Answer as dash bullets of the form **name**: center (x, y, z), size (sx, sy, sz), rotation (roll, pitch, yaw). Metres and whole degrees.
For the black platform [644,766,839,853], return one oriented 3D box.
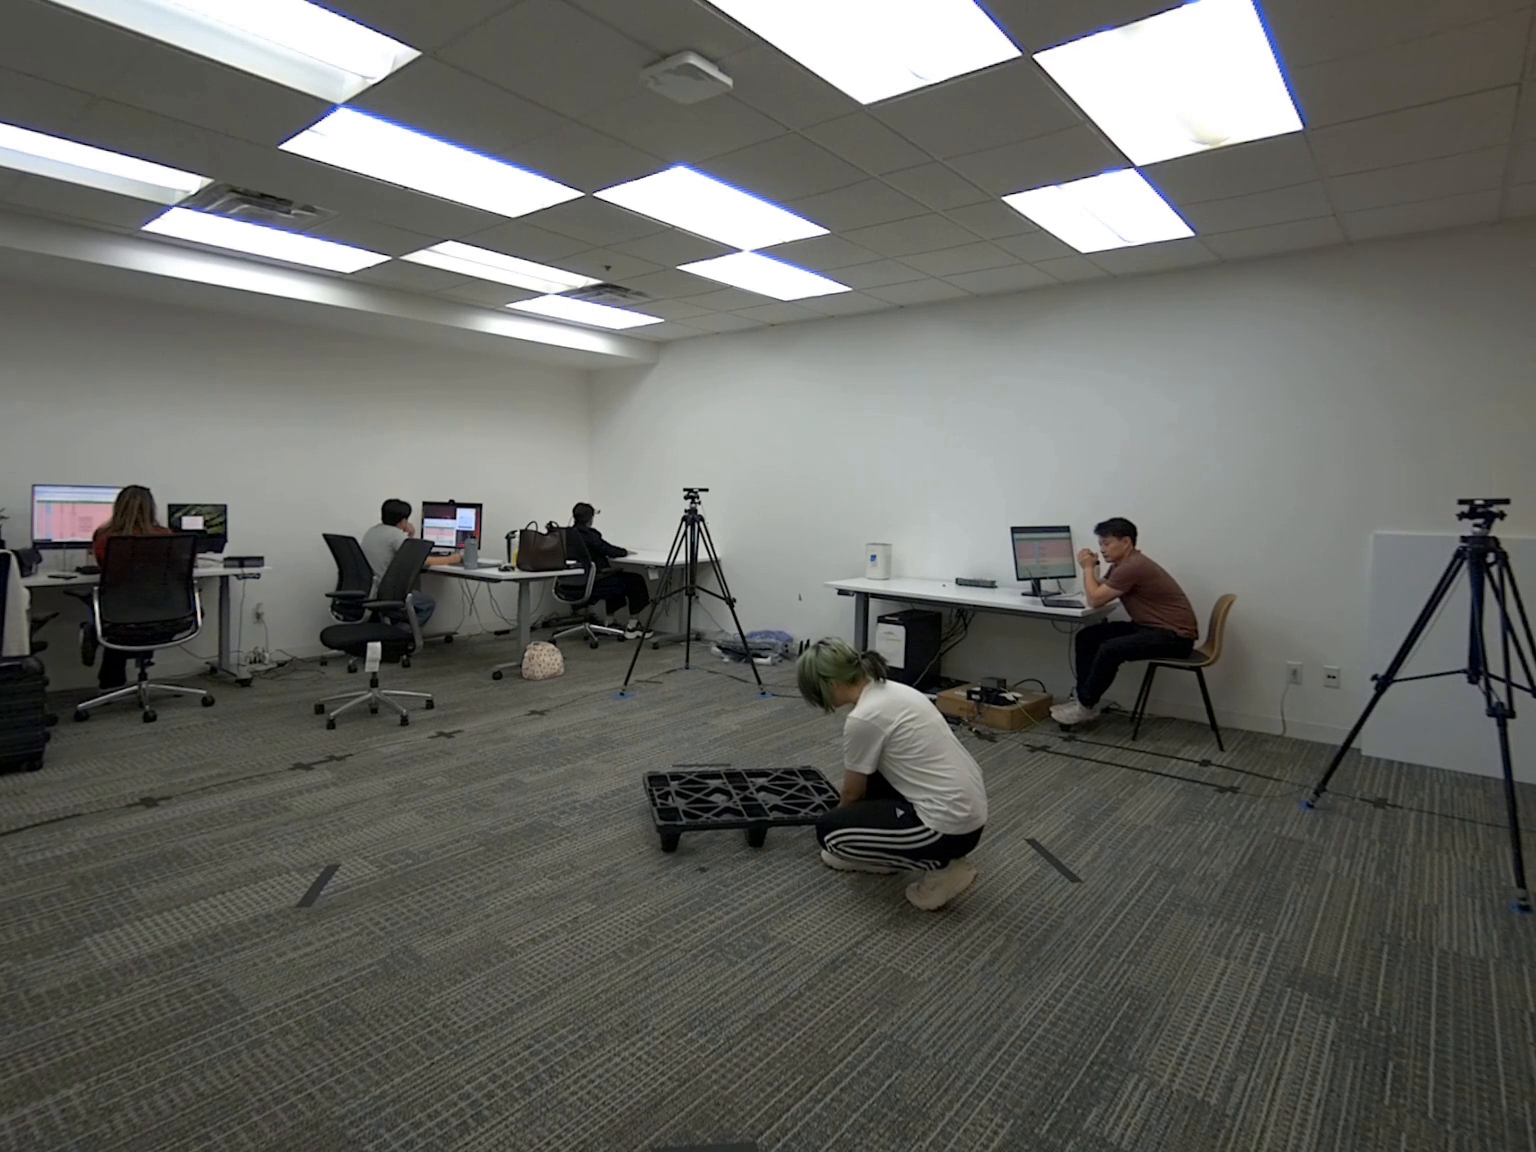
- **black platform**: center (-0.112, 0.960, 3.543), size (0.796, 0.143, 0.614), rotation (0, 5, -11)
